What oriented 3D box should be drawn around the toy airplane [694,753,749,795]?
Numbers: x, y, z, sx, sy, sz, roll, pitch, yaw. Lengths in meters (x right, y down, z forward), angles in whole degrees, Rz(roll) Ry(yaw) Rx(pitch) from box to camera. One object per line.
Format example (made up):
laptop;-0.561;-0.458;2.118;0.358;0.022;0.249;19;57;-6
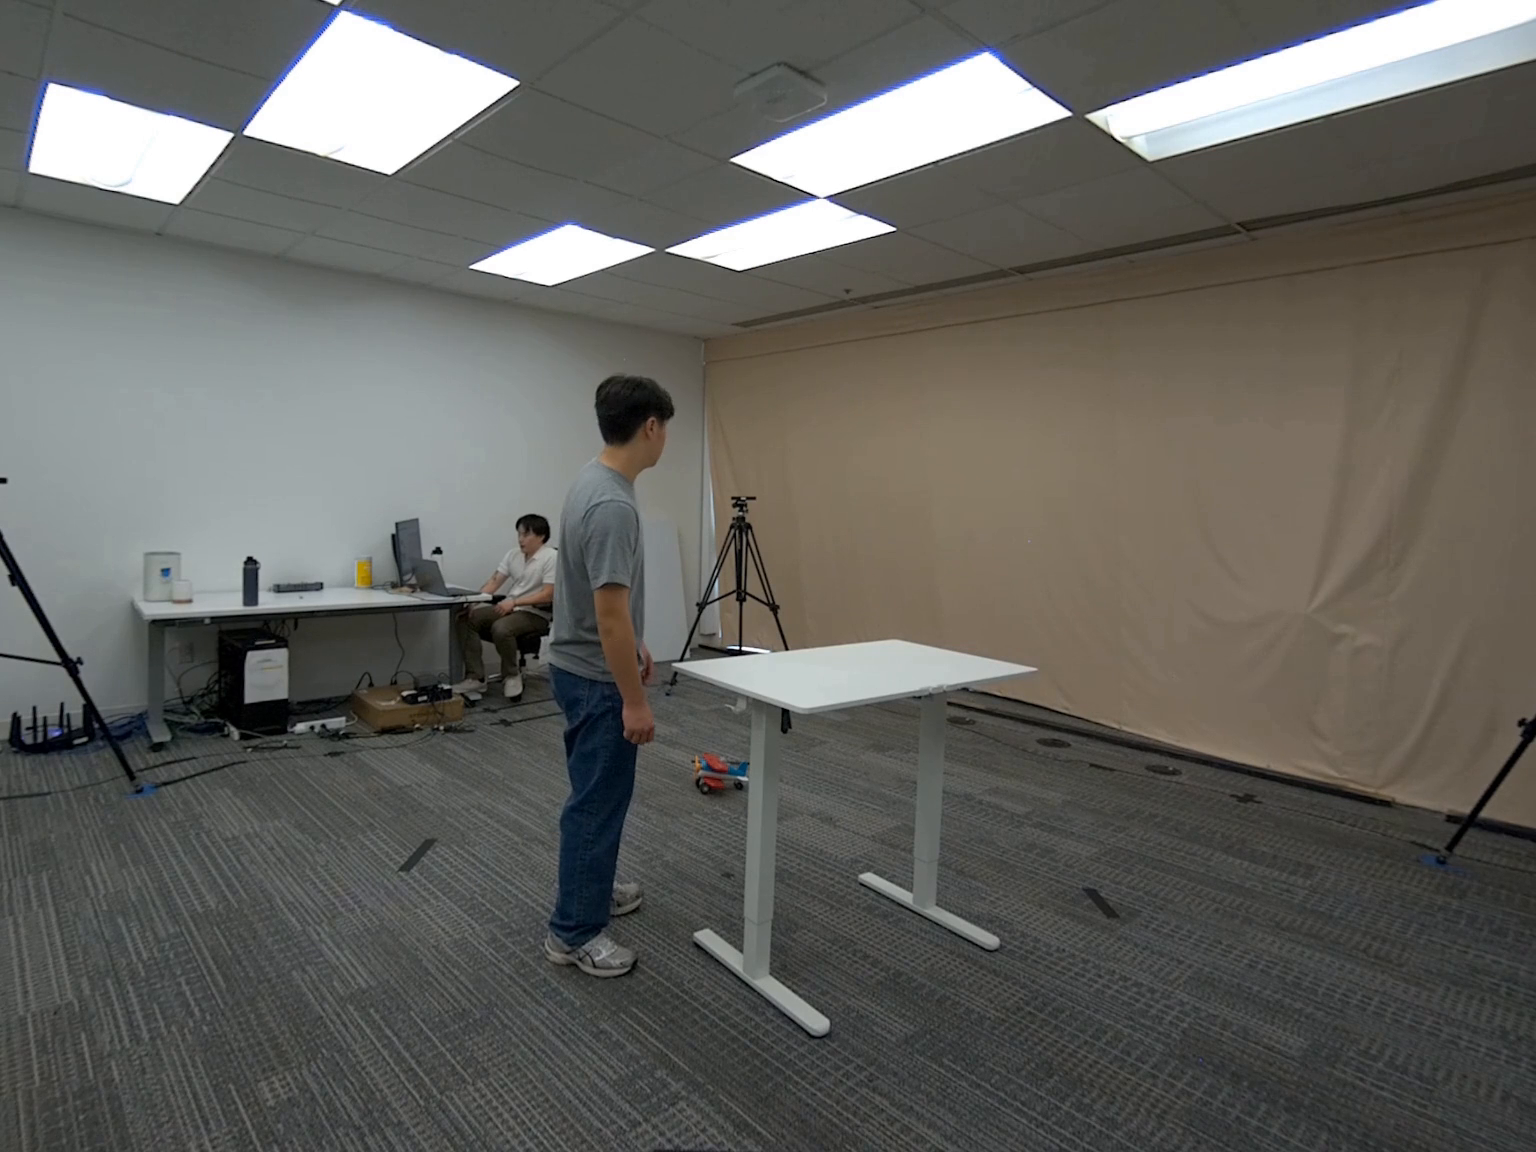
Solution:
toy airplane;-0.244;0.947;4.046;0.257;0.156;0.253;4;5;45
